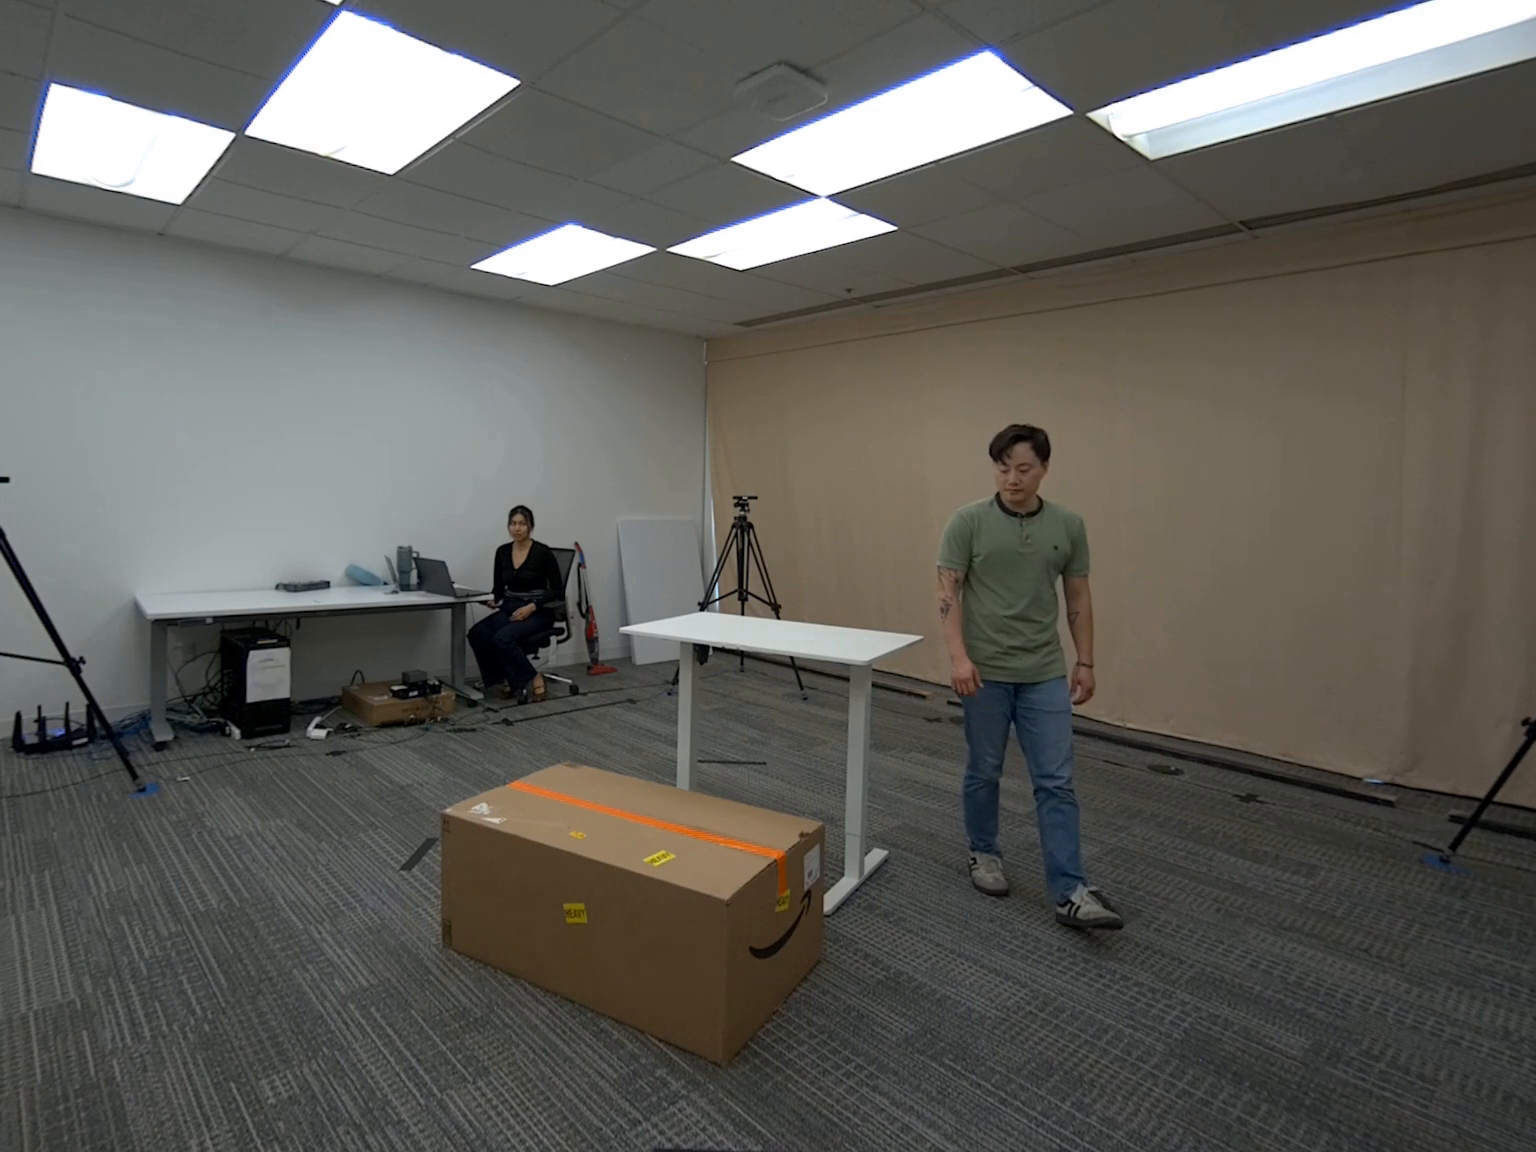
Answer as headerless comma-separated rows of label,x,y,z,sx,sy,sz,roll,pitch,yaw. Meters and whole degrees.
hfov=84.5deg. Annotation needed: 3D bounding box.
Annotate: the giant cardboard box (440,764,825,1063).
giant cardboard box,-0.417,0.934,2.543,1.048,0.425,0.567,4,6,30
